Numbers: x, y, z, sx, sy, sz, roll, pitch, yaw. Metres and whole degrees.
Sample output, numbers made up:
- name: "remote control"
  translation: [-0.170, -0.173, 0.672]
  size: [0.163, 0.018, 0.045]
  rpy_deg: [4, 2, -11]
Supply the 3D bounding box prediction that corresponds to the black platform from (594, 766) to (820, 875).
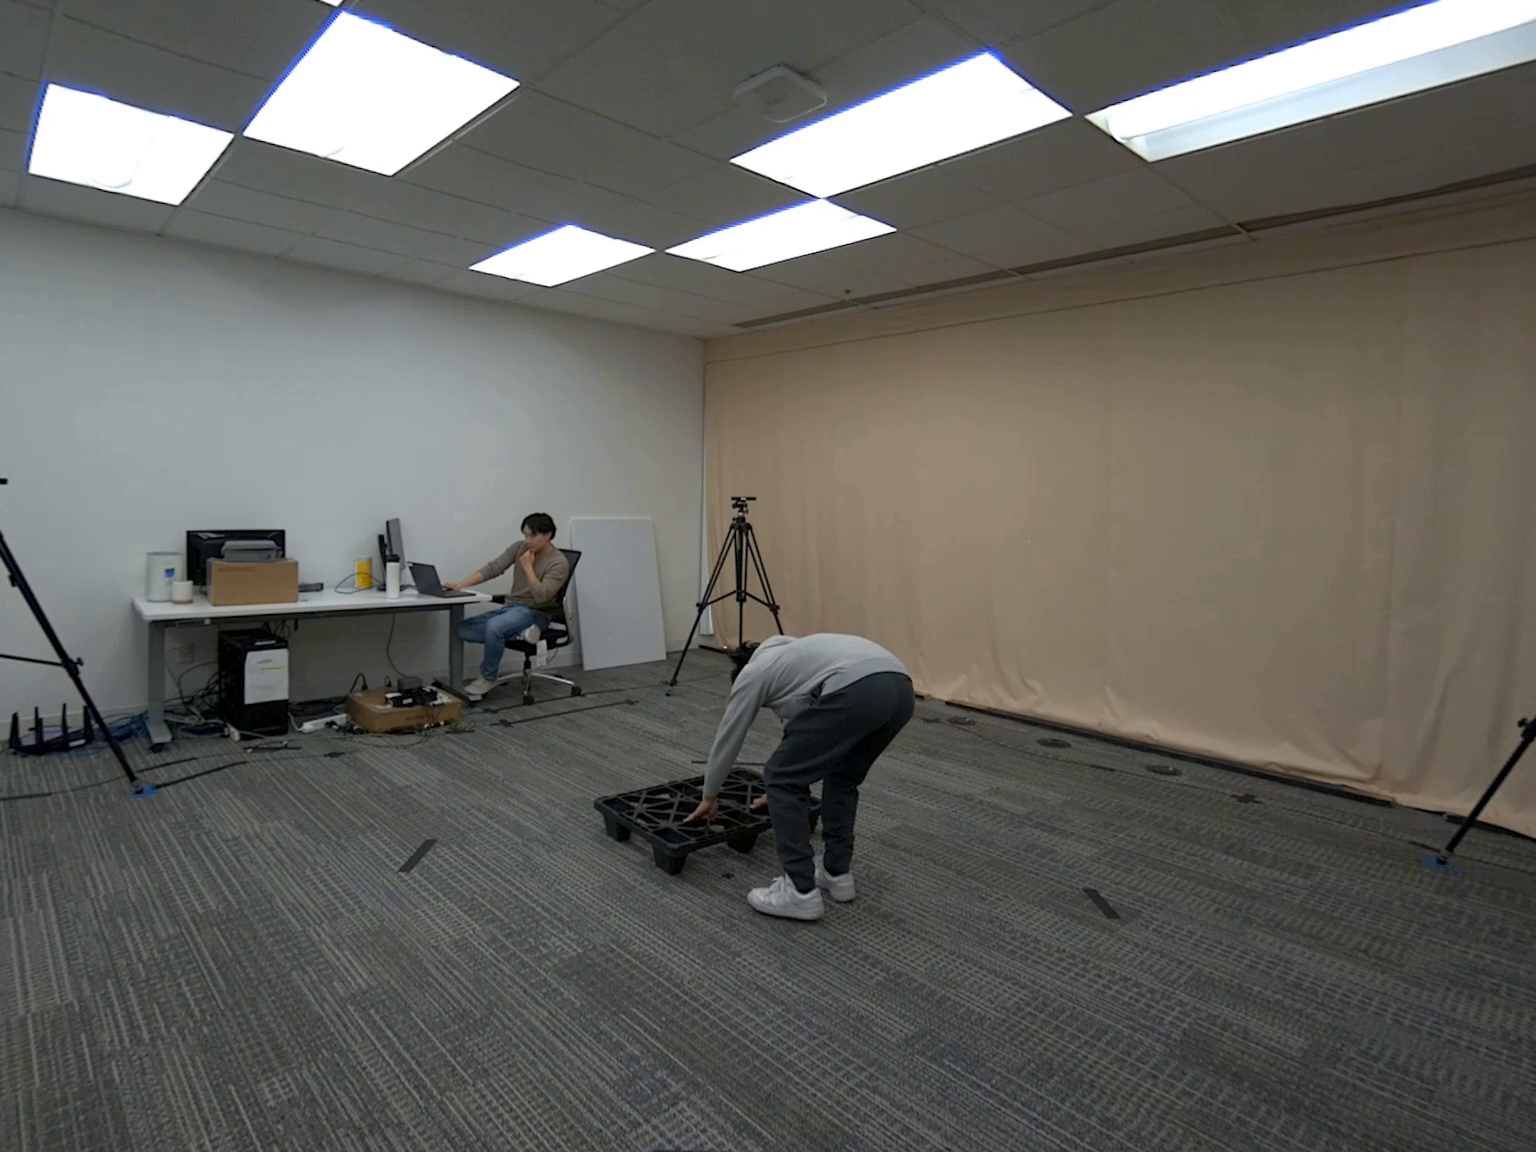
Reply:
- name: "black platform"
  translation: [-0.236, 1.003, 3.501]
  size: [0.787, 0.143, 0.621]
  rpy_deg: [-2, 7, -39]
